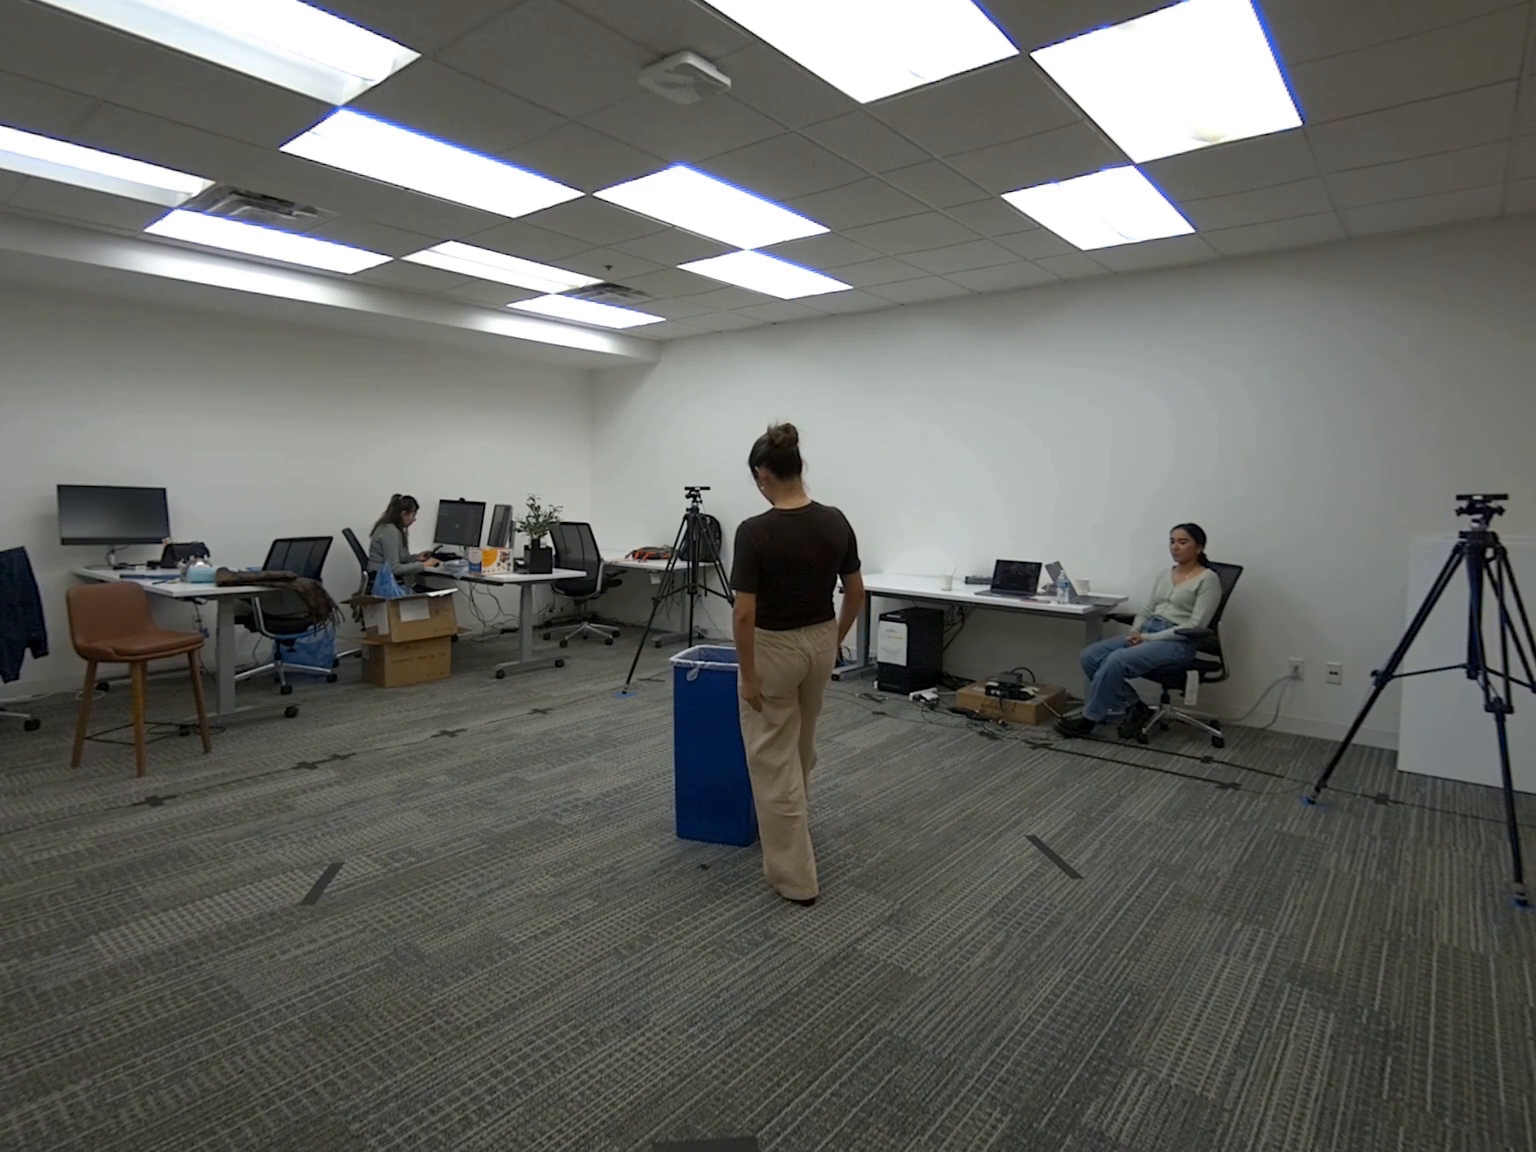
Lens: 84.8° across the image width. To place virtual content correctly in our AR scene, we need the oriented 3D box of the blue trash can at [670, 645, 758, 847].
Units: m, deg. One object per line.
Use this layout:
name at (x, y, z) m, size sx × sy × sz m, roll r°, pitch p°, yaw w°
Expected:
blue trash can at (-0.189, 0.670, 3.461) m, size 0.380 × 0.712 × 0.373 m, roll 1°, pitch 2°, yaw 15°
